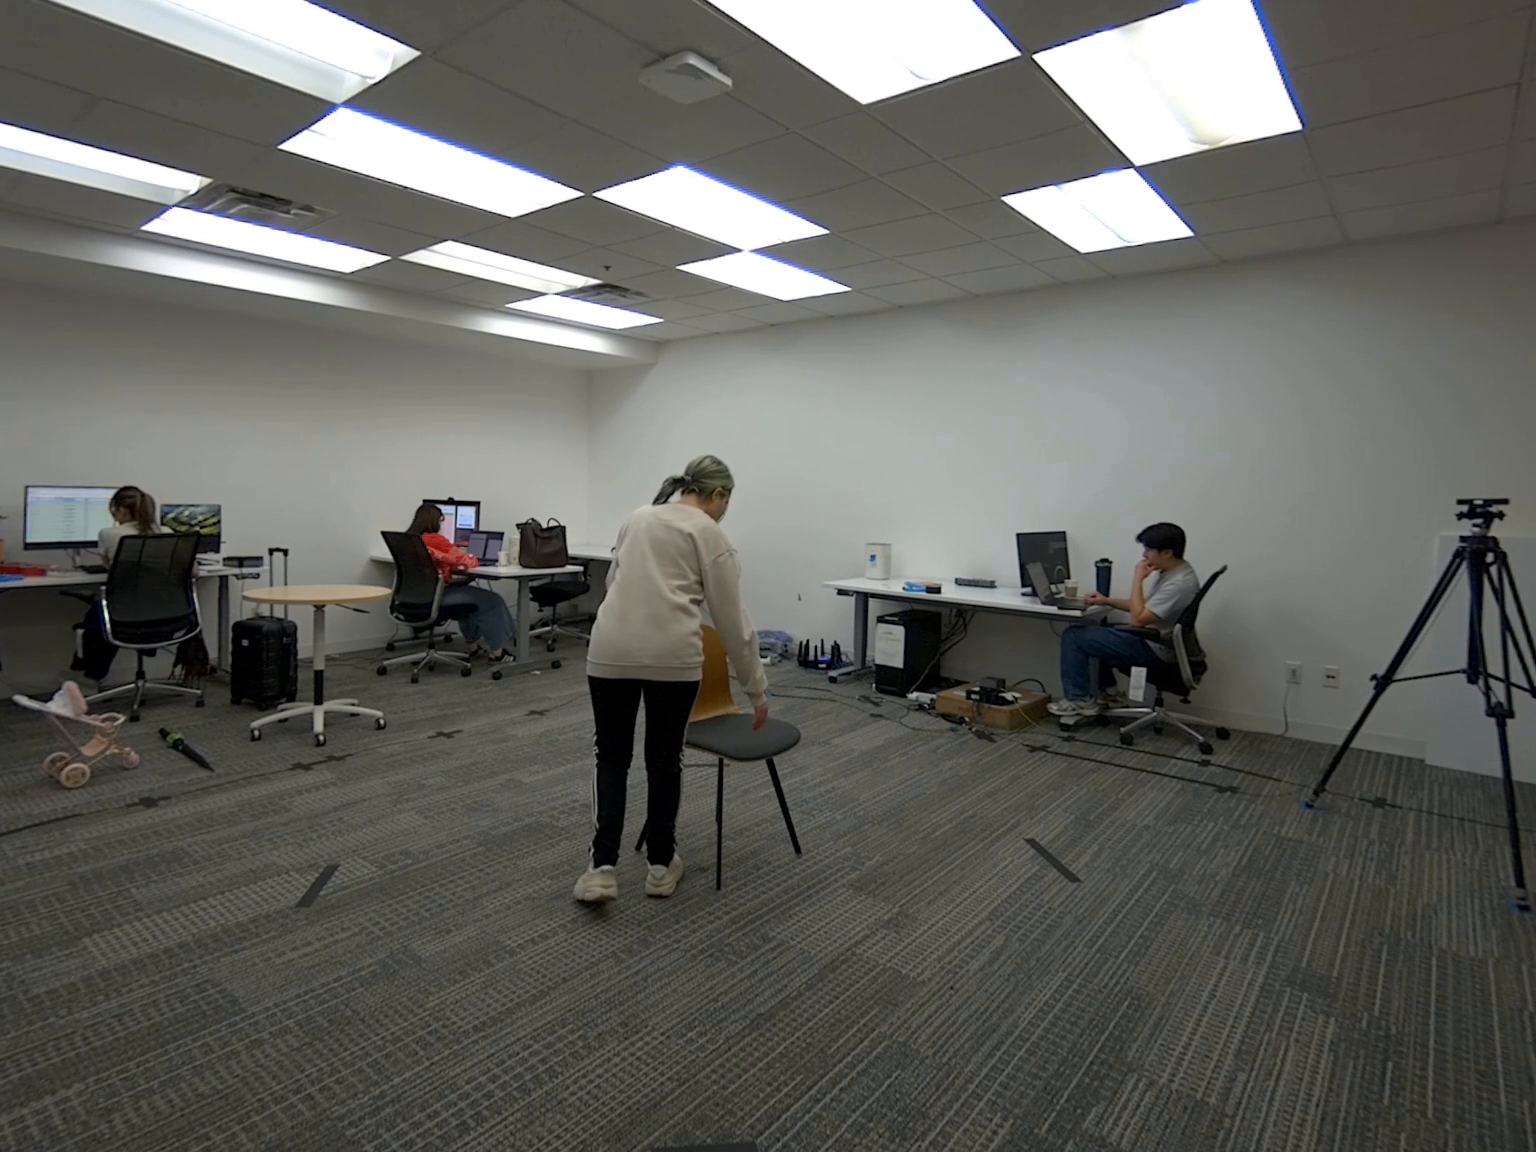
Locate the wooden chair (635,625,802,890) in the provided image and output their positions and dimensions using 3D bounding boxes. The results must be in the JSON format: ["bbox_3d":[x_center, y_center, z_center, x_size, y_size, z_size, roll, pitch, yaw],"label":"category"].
[{"bbox_3d":[-0.177,0.630,3.231,0.539,0.878,0.463,-2,0,43],"label":"wooden chair"}]
